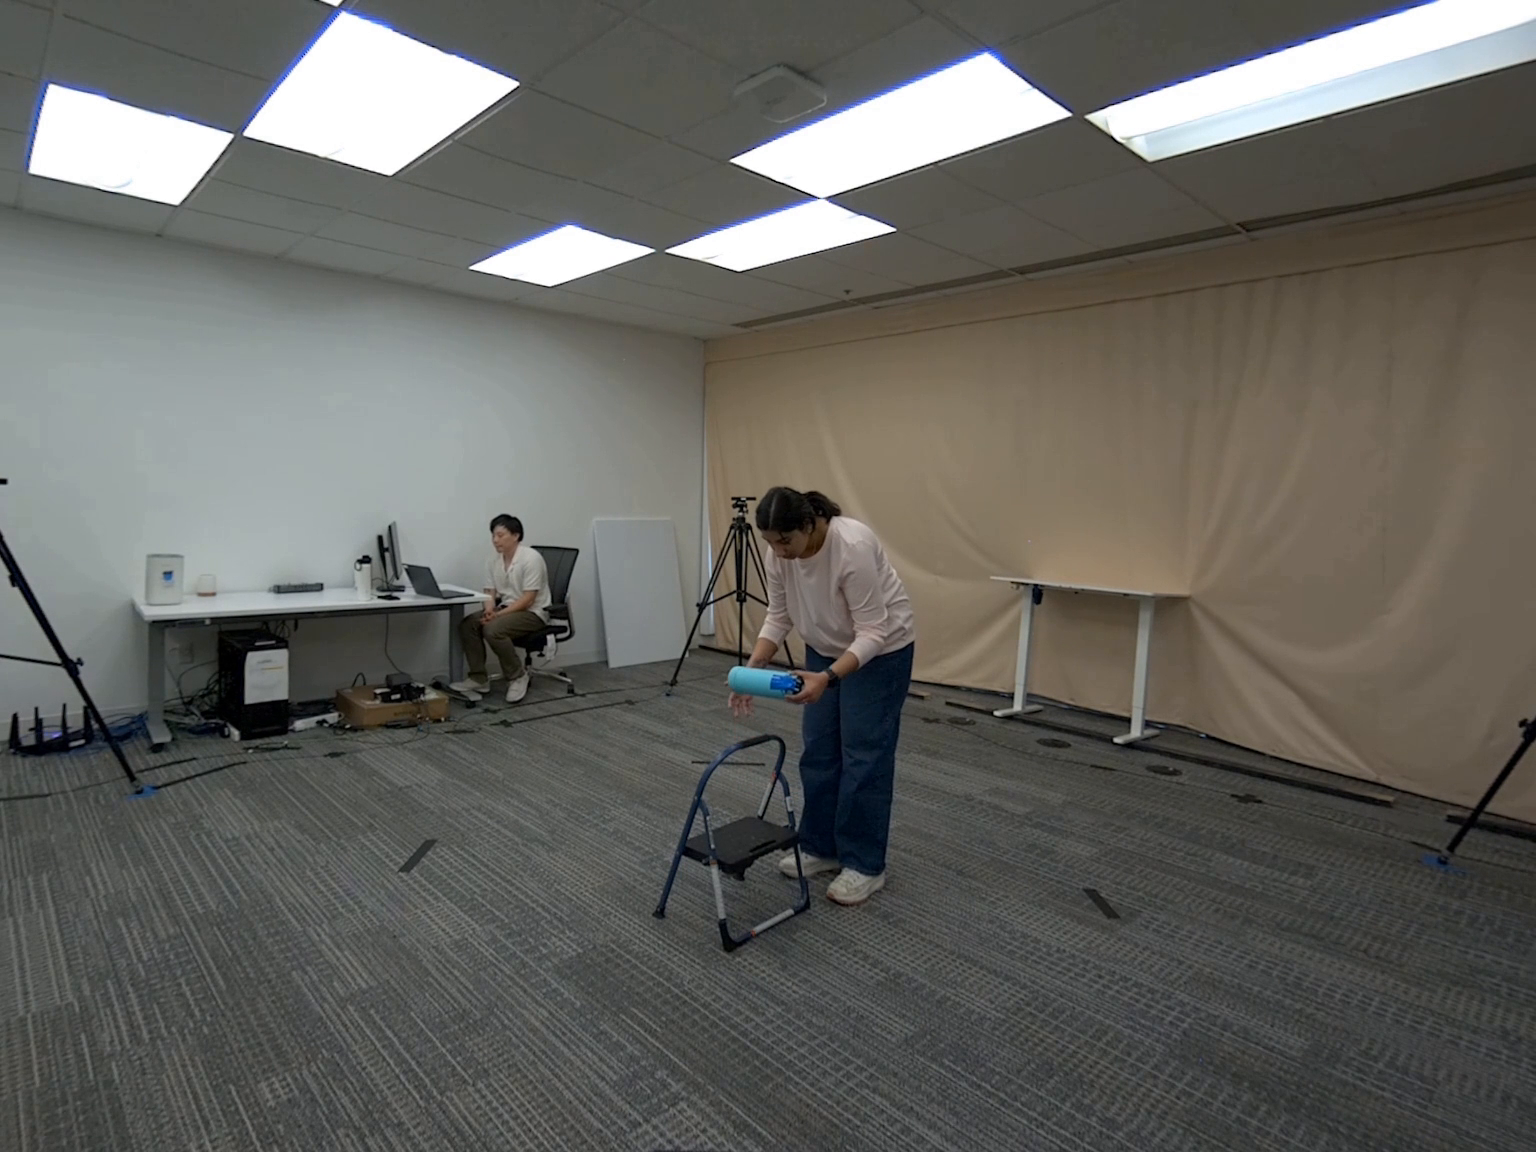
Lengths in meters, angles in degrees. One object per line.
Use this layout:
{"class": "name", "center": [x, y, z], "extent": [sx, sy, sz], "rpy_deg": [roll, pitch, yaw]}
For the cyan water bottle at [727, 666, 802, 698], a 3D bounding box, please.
{"class": "cyan water bottle", "center": [-0.004, 0.353, 2.752], "extent": [0.290, 0.092, 0.090], "rpy_deg": [2, 4, 38]}
